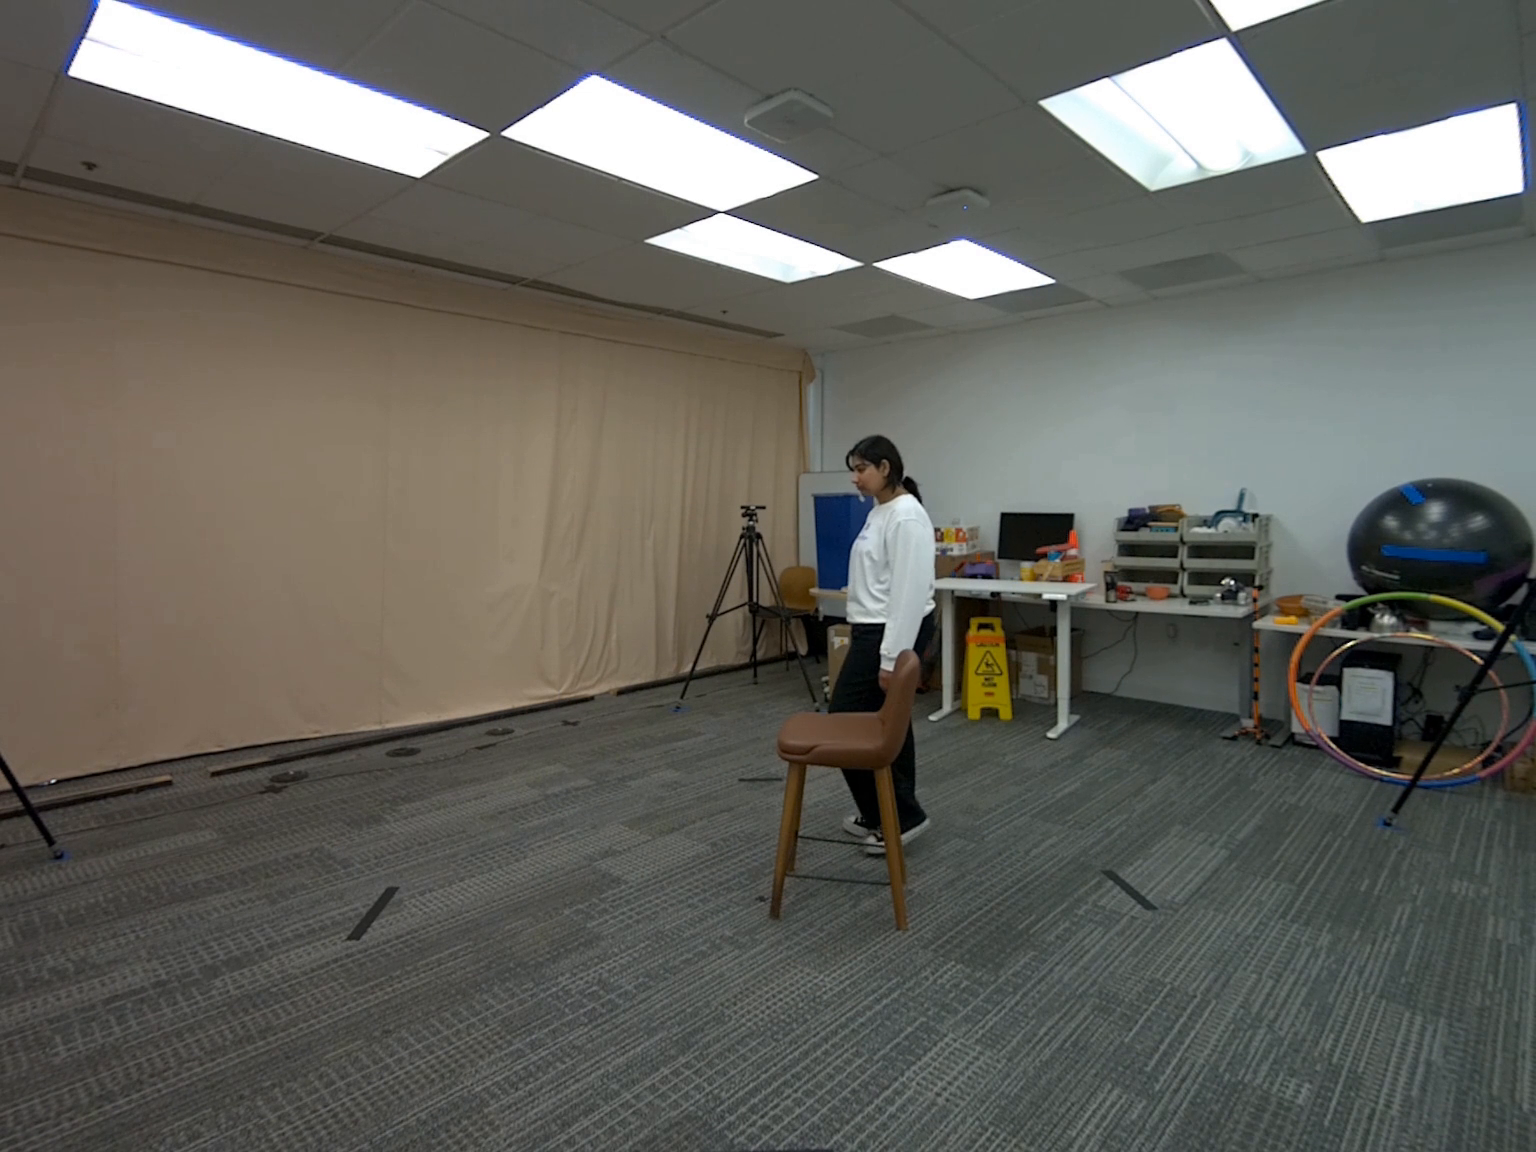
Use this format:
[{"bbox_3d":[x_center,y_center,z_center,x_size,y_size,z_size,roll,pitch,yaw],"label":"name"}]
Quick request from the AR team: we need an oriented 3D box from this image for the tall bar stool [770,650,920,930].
[{"bbox_3d":[0.273,0.711,2.962,0.474,0.888,0.451,2,3,12],"label":"tall bar stool"}]
